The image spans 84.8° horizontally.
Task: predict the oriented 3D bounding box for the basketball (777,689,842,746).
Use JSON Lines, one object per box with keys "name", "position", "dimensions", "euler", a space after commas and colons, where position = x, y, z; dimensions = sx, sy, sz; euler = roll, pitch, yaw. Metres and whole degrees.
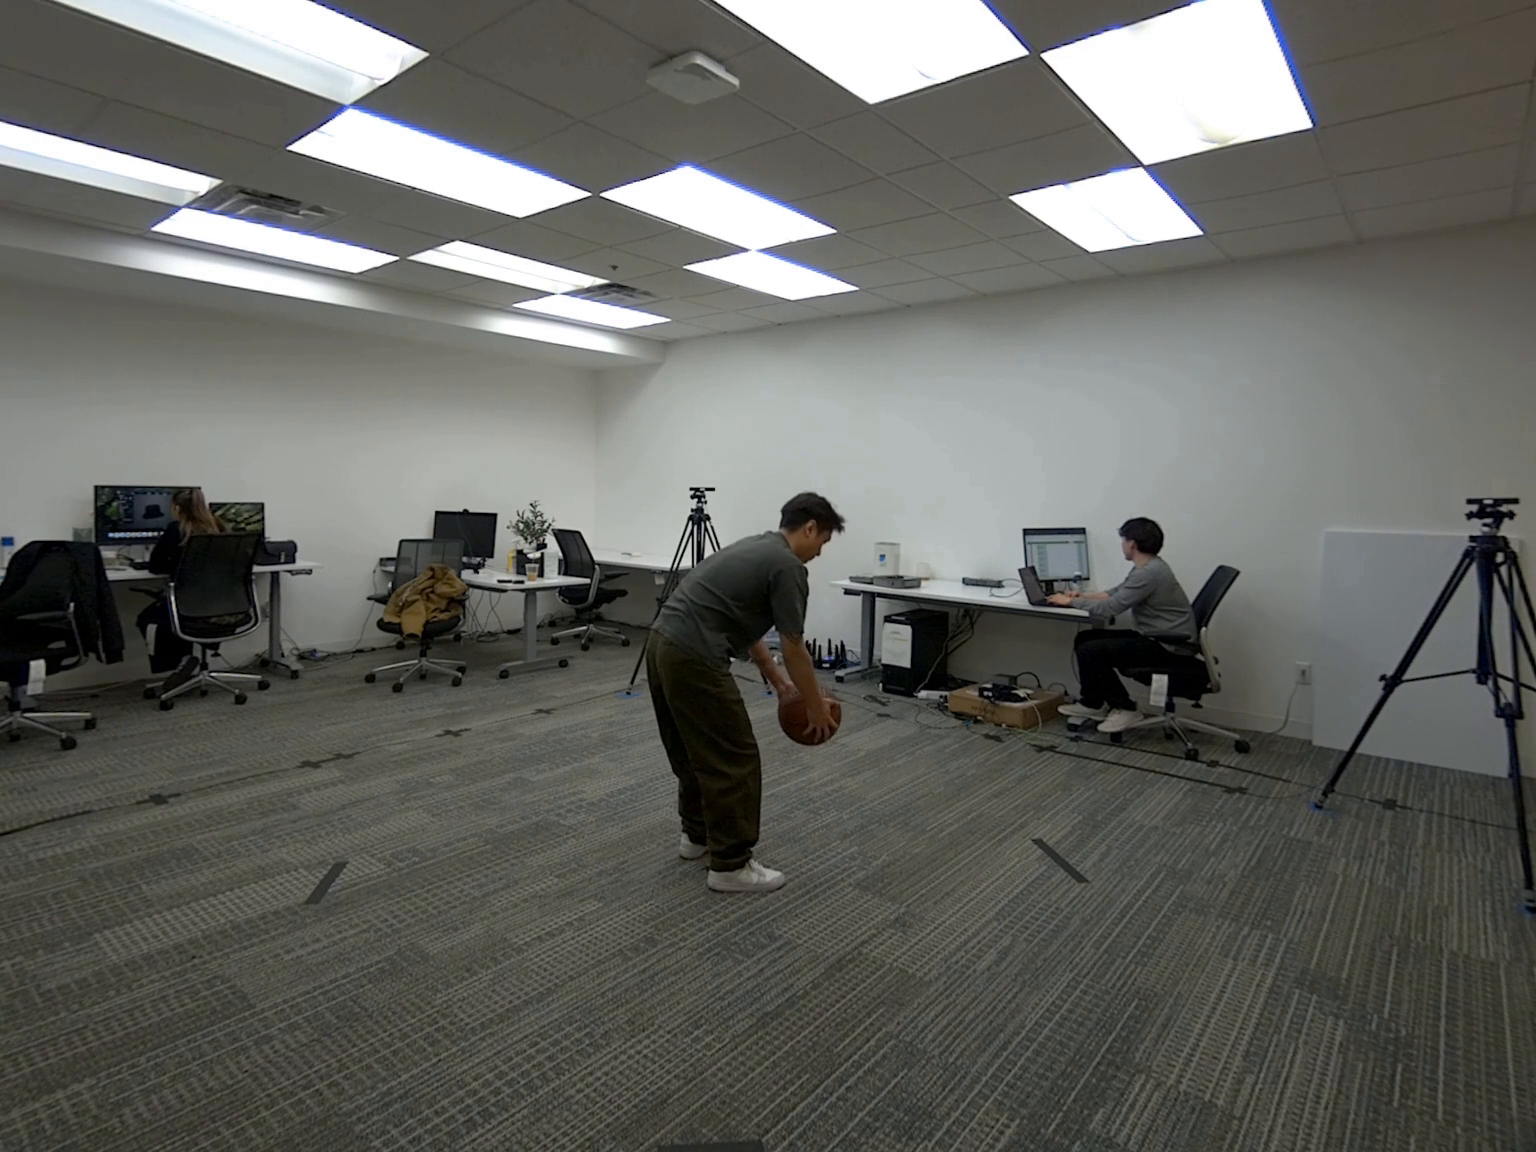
{"name": "basketball", "position": [0.149, 0.512, 3.194], "dimensions": [0.235, 0.235, 0.237], "euler": [1, 4, -2]}
